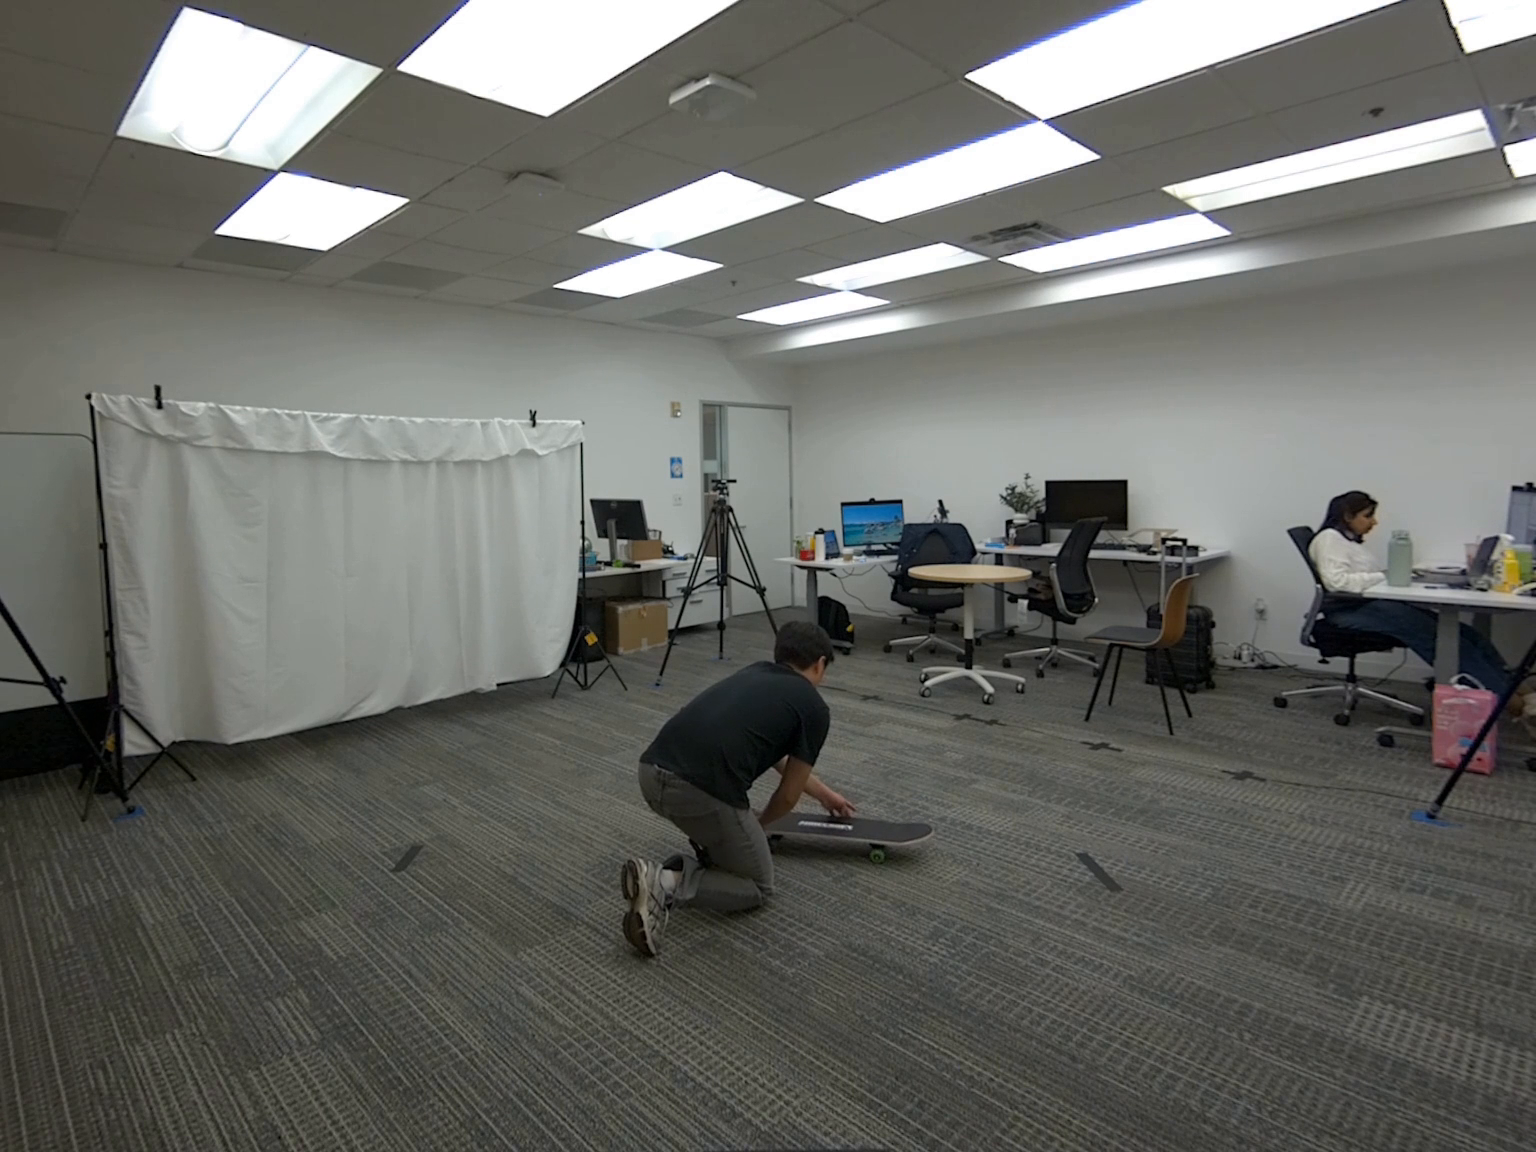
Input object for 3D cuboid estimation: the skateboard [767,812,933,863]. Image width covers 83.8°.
[{"bbox_3d":[0.216,0.966,3.223,0.797,0.110,0.191,1,6,15],"label":"skateboard"}]
